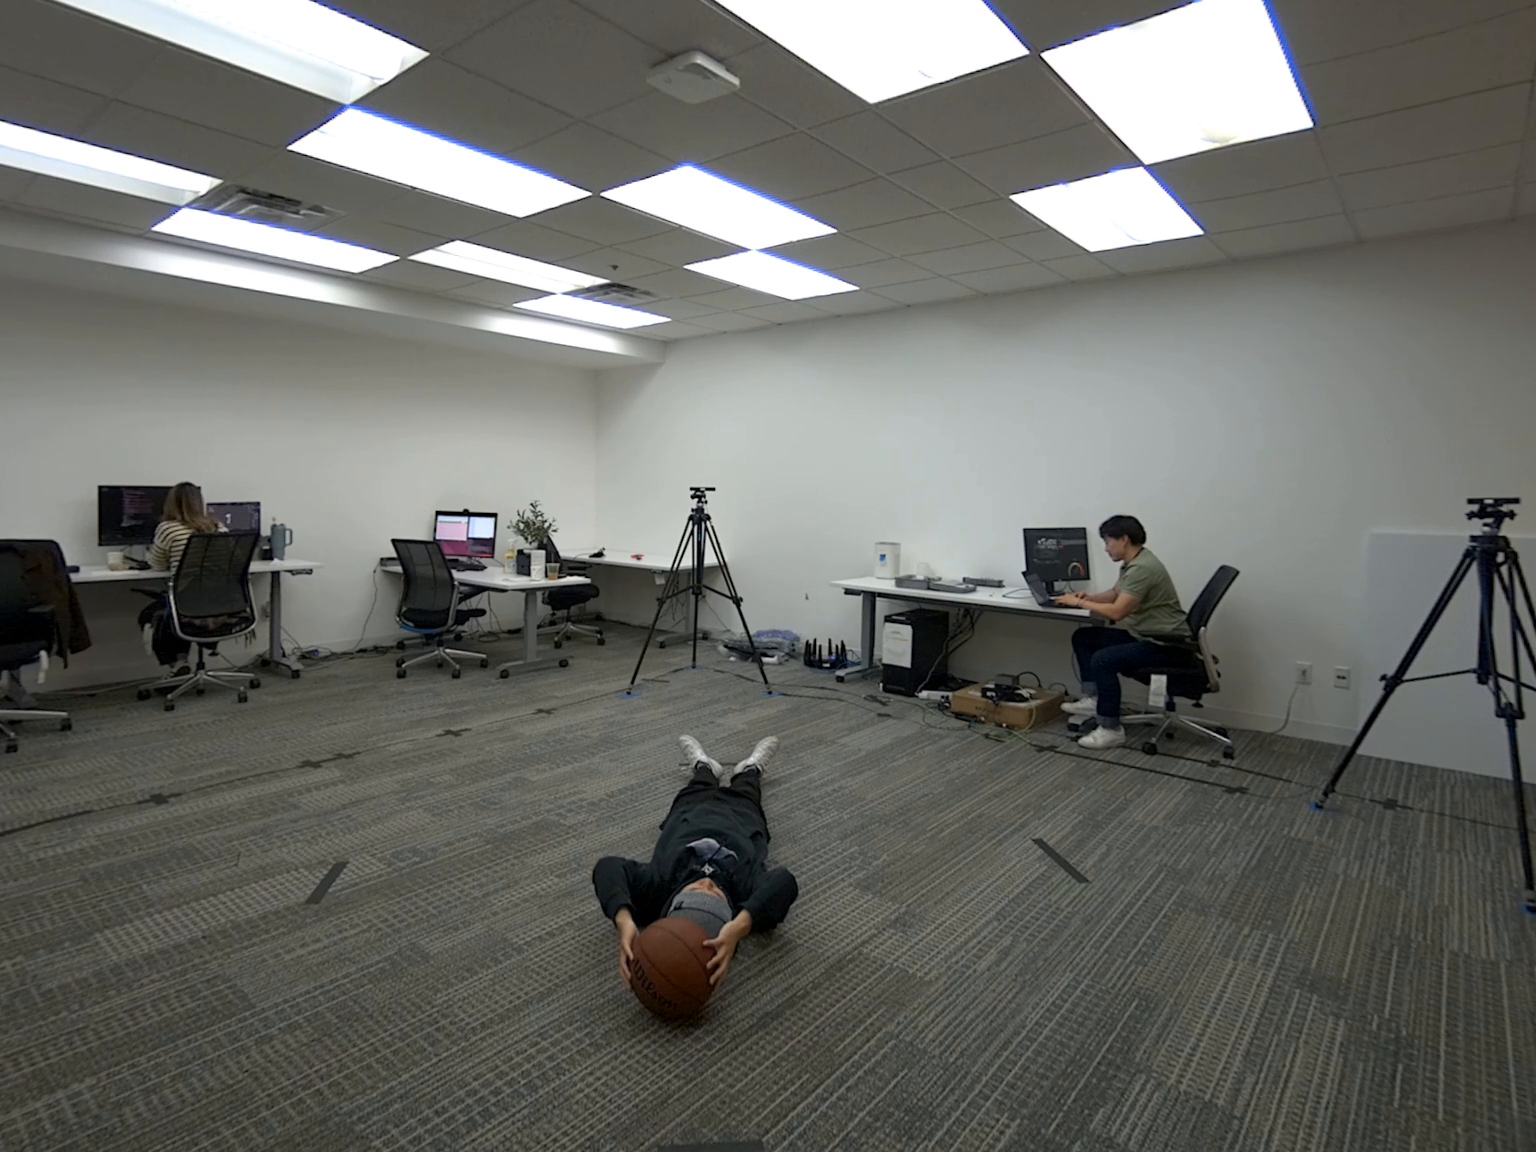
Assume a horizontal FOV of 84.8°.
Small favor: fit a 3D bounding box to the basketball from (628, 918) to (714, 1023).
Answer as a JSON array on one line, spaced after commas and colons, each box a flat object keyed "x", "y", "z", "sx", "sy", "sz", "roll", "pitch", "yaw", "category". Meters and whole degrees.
[{"x": -0.263, "y": 1.031, "z": 2.250, "sx": 0.235, "sy": 0.235, "sz": 0.237, "roll": 1, "pitch": 4, "yaw": -2, "category": "basketball"}]
